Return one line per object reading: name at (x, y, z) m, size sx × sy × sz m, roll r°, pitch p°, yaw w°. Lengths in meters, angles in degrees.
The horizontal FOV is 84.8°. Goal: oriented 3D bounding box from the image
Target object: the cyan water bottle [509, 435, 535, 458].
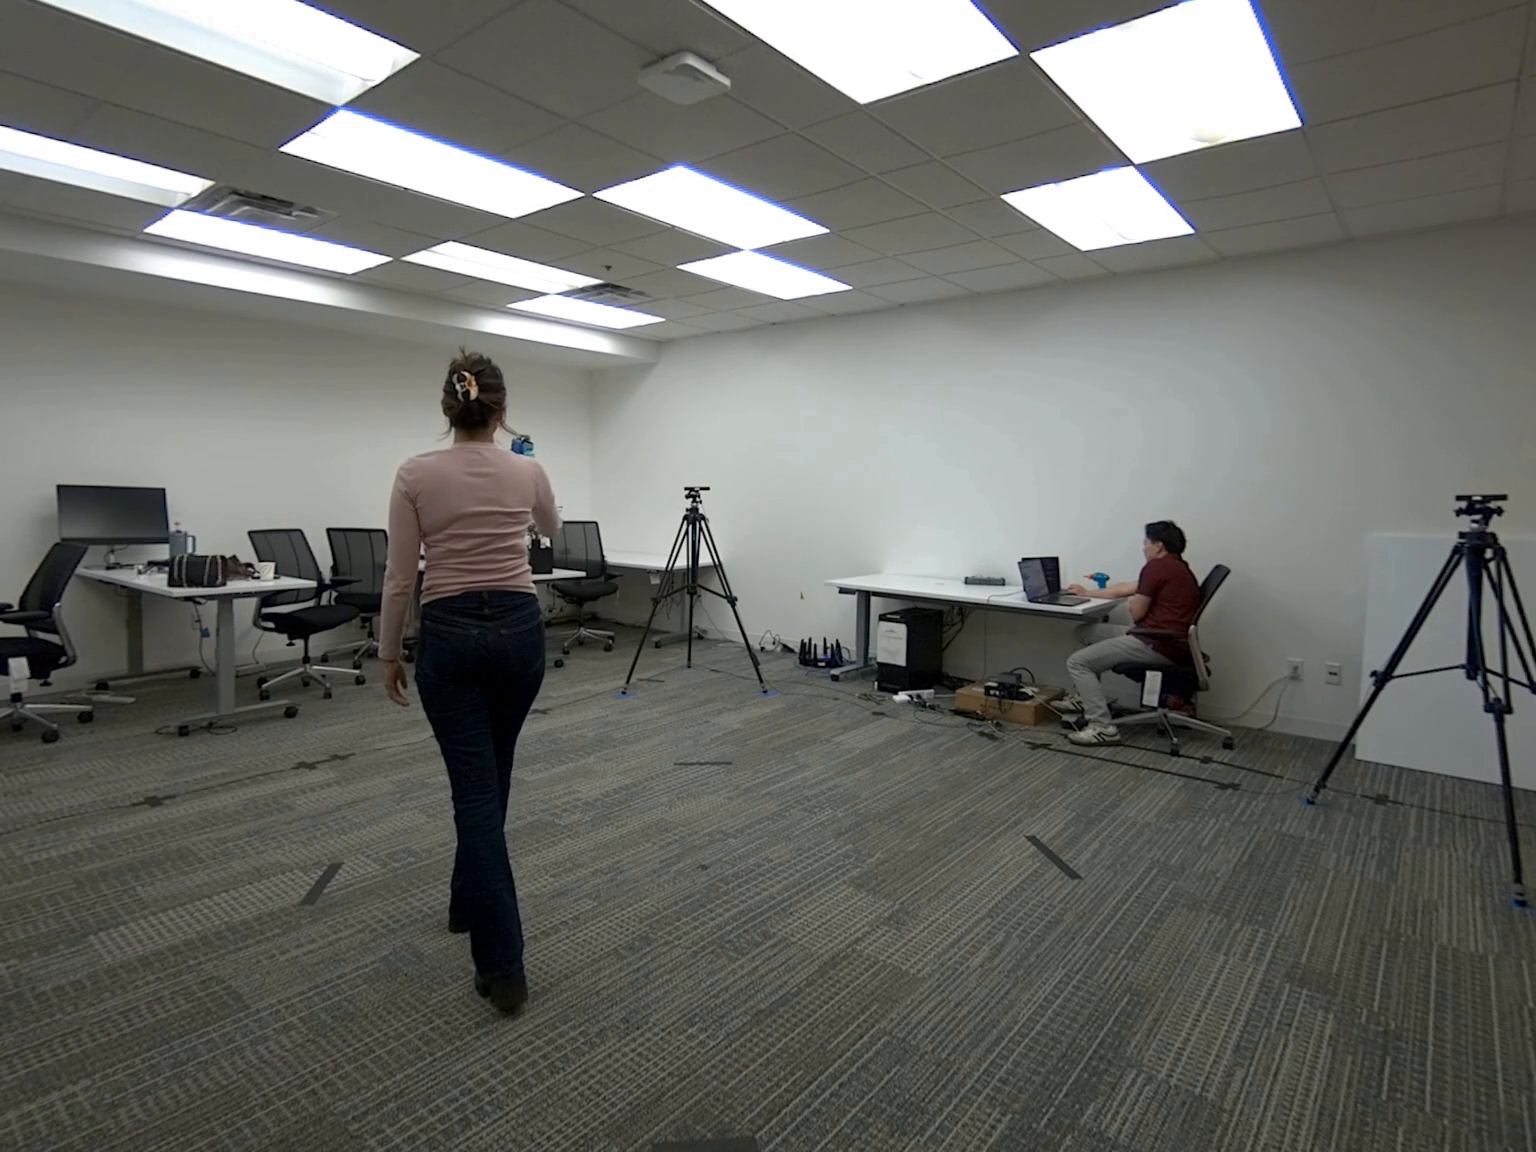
cyan water bottle at (-0.911, -0.379, 3.093) m, size 0.092 × 0.281 × 0.093 m, roll 2°, pitch 9°, yaw -2°
